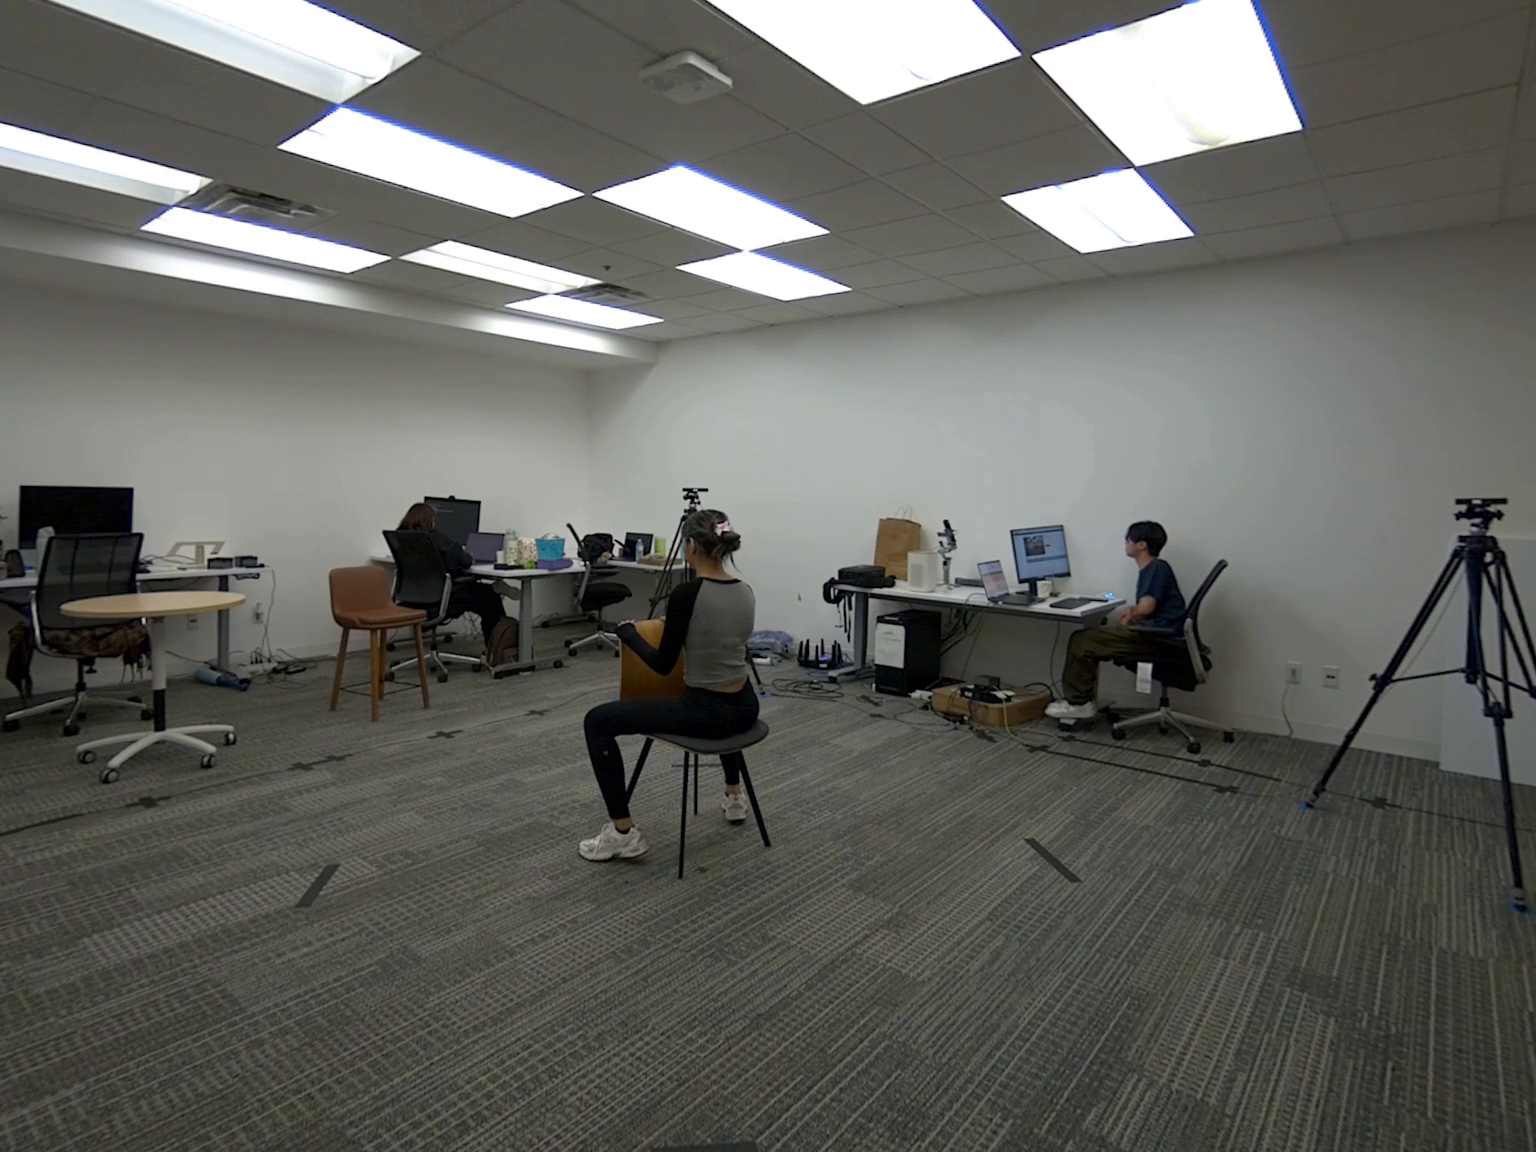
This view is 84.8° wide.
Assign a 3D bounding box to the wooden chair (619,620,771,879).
[{"bbox_3d":[-0.302,0.622,3.306,0.463,0.878,0.539,-2,-1,-43],"label":"wooden chair"}]
